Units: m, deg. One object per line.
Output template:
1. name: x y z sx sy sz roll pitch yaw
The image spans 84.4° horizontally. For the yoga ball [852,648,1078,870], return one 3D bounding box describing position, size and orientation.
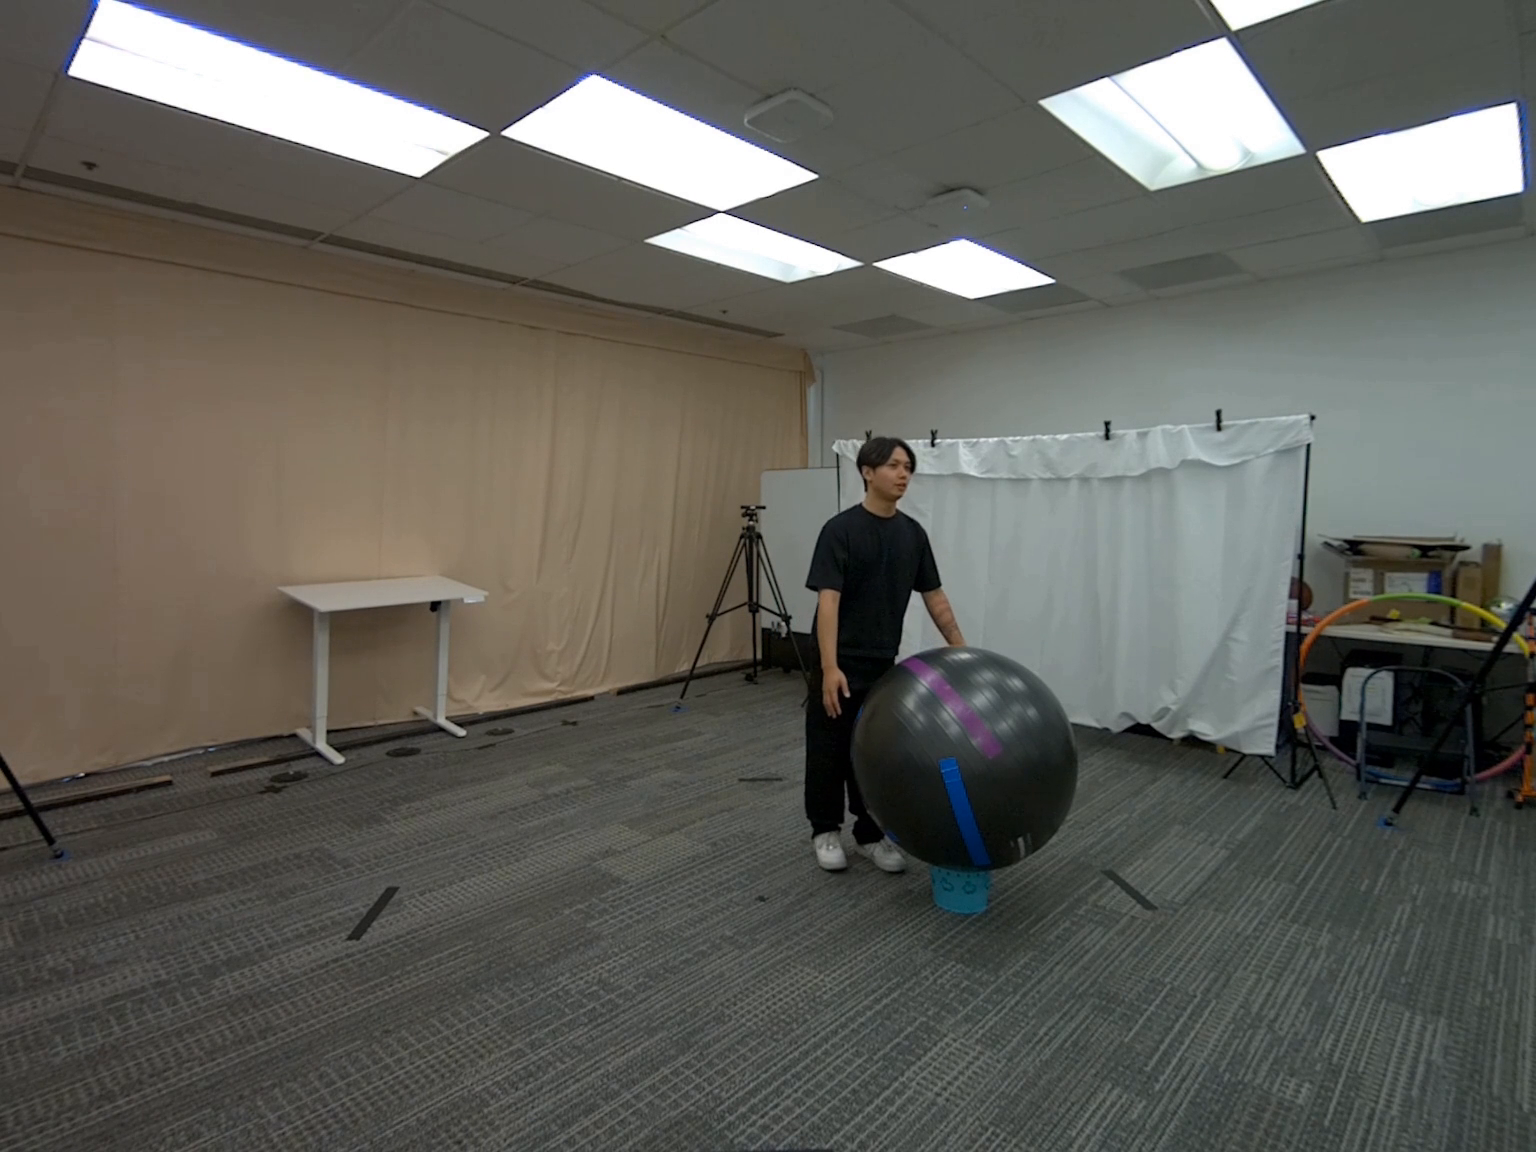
1. yoga ball: 0.690 0.638 2.941 0.757 0.756 0.760 0 4 -2
